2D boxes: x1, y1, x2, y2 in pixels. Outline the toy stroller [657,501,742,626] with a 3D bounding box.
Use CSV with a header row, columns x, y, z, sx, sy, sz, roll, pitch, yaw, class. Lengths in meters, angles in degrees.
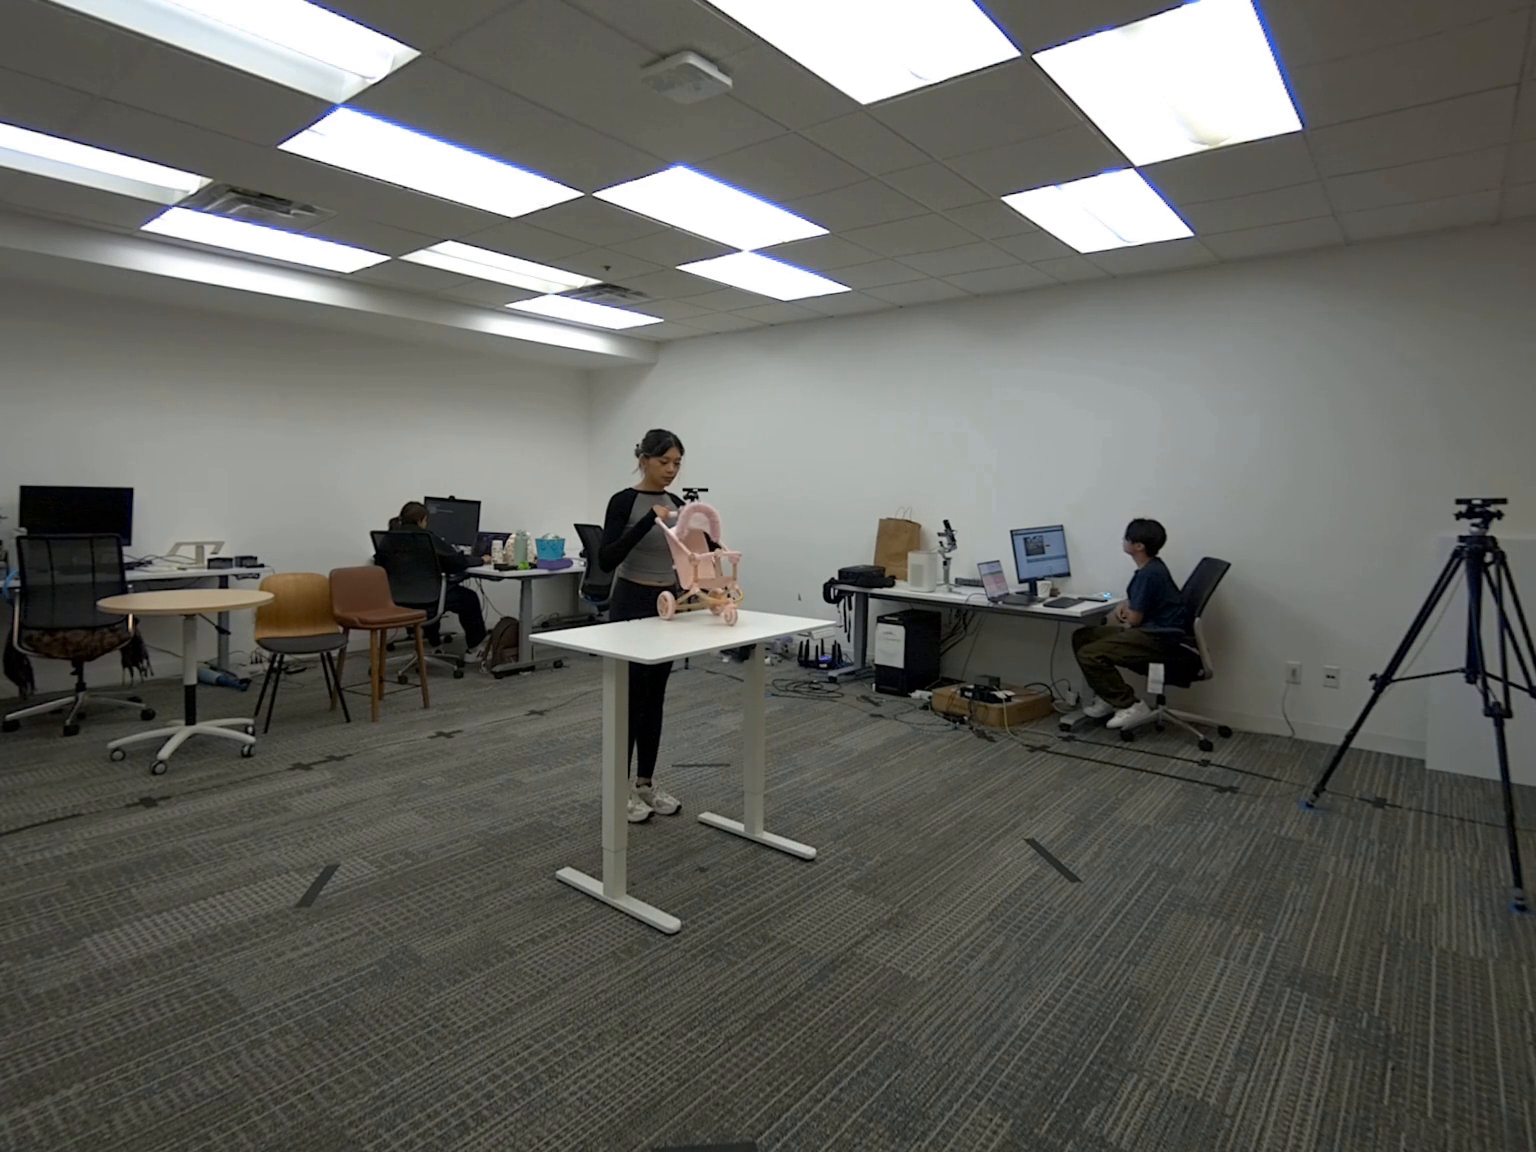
x,y,z,sx,sy,sz,roll,pitch,yaw,class
-0.265,-0.057,3.306,0.273,0.542,0.347,-1,-13,-35,toy stroller
